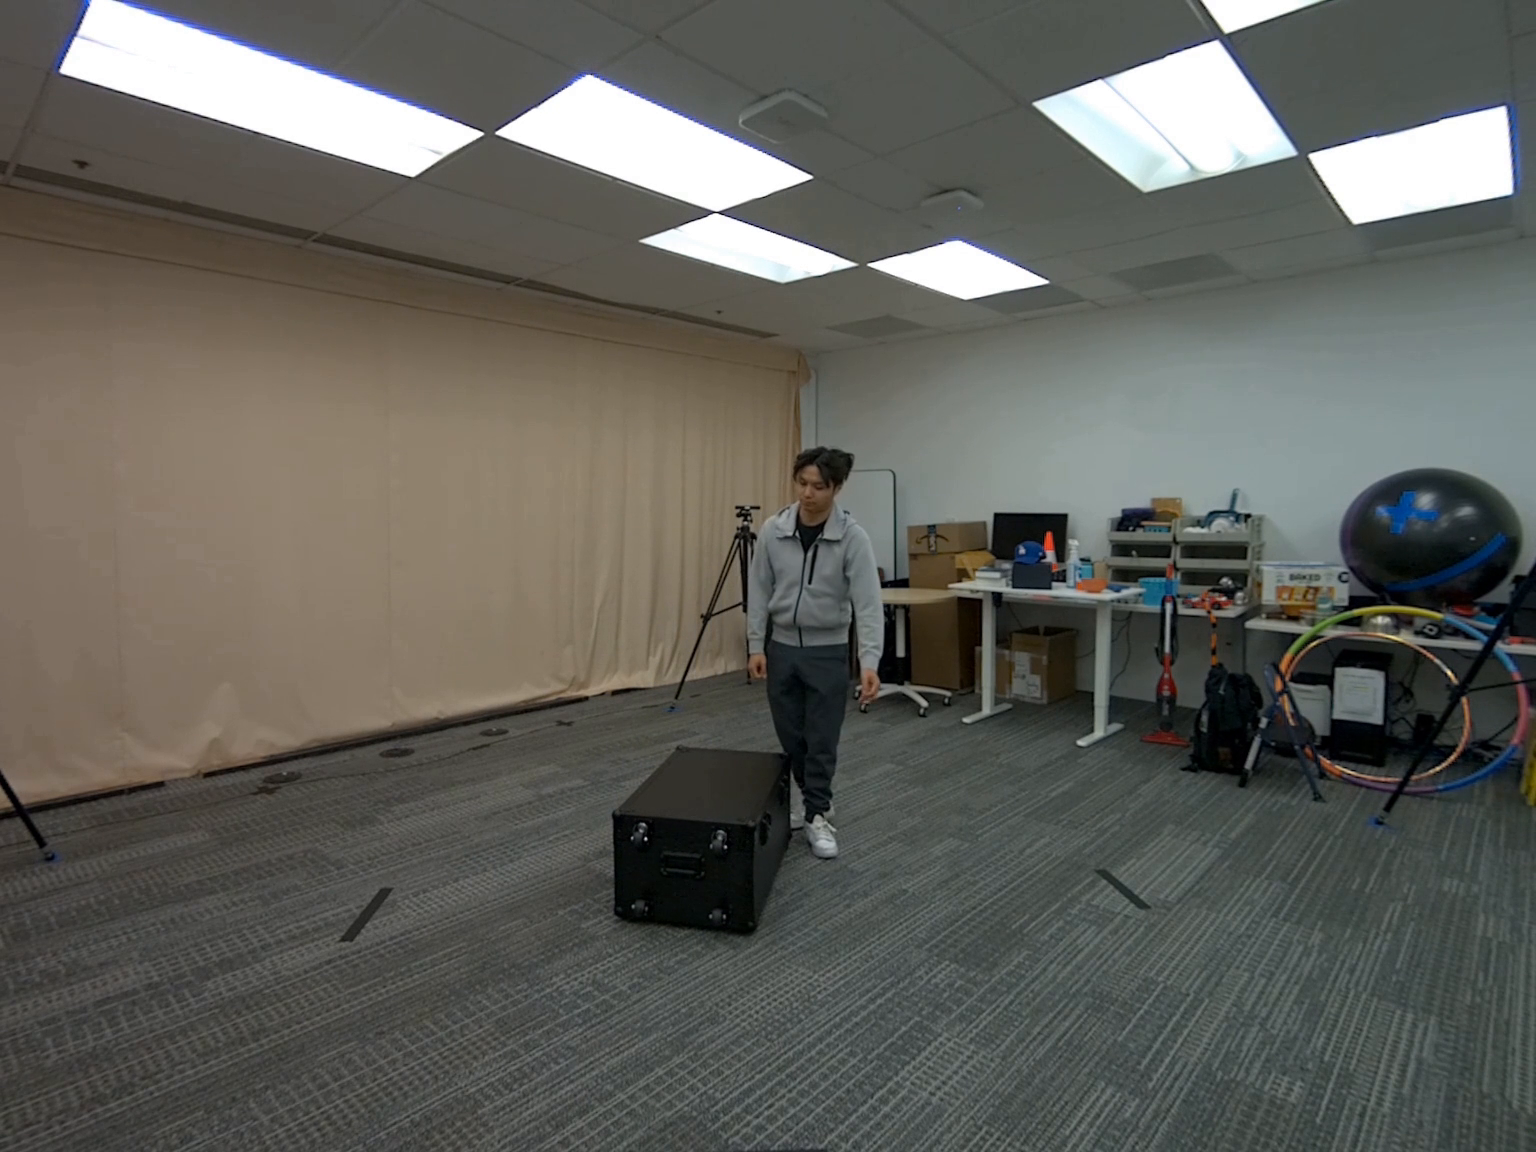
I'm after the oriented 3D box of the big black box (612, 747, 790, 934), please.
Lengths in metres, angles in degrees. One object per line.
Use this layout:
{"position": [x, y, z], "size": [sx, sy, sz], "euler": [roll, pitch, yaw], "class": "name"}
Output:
{"position": [-0.223, 0.941, 3.100], "size": [0.528, 0.395, 0.851], "euler": [0, 4, 11], "class": "big black box"}
